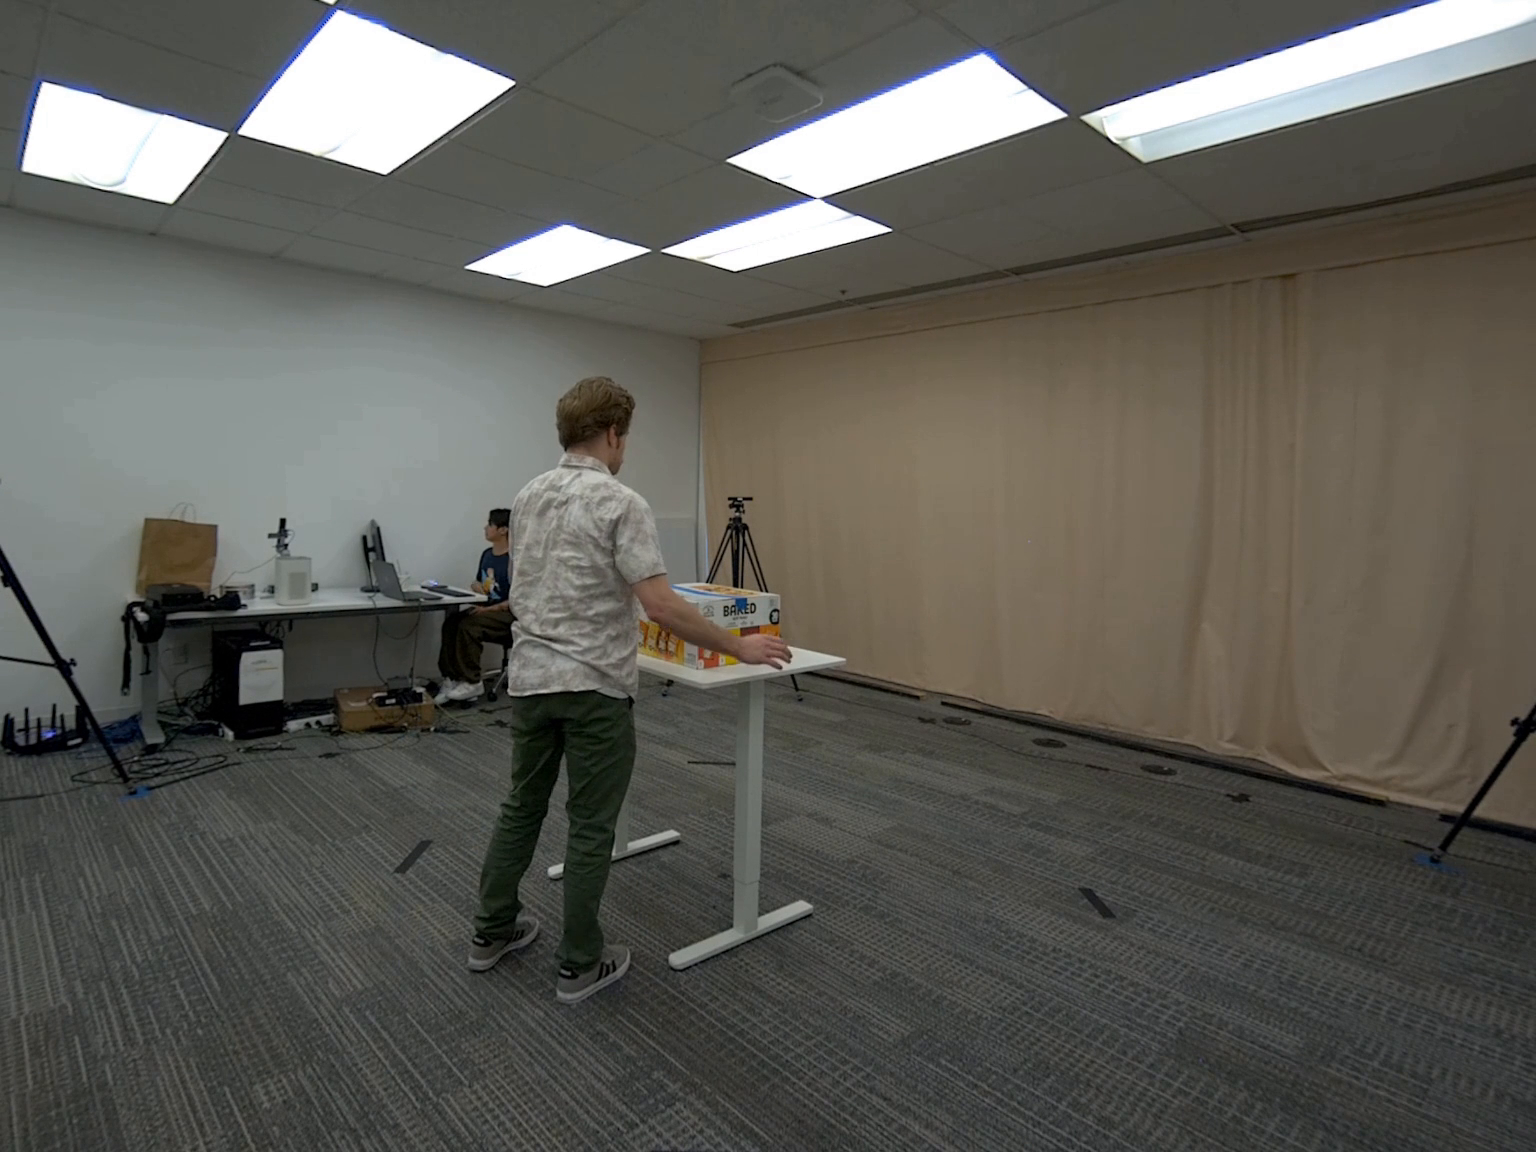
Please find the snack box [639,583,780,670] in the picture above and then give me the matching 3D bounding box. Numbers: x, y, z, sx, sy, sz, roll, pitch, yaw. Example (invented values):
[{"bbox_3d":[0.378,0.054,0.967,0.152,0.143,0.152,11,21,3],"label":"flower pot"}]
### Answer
[{"bbox_3d":[-0.228,0.153,2.755,0.332,0.205,0.416,-3,7,-42],"label":"snack box"}]
